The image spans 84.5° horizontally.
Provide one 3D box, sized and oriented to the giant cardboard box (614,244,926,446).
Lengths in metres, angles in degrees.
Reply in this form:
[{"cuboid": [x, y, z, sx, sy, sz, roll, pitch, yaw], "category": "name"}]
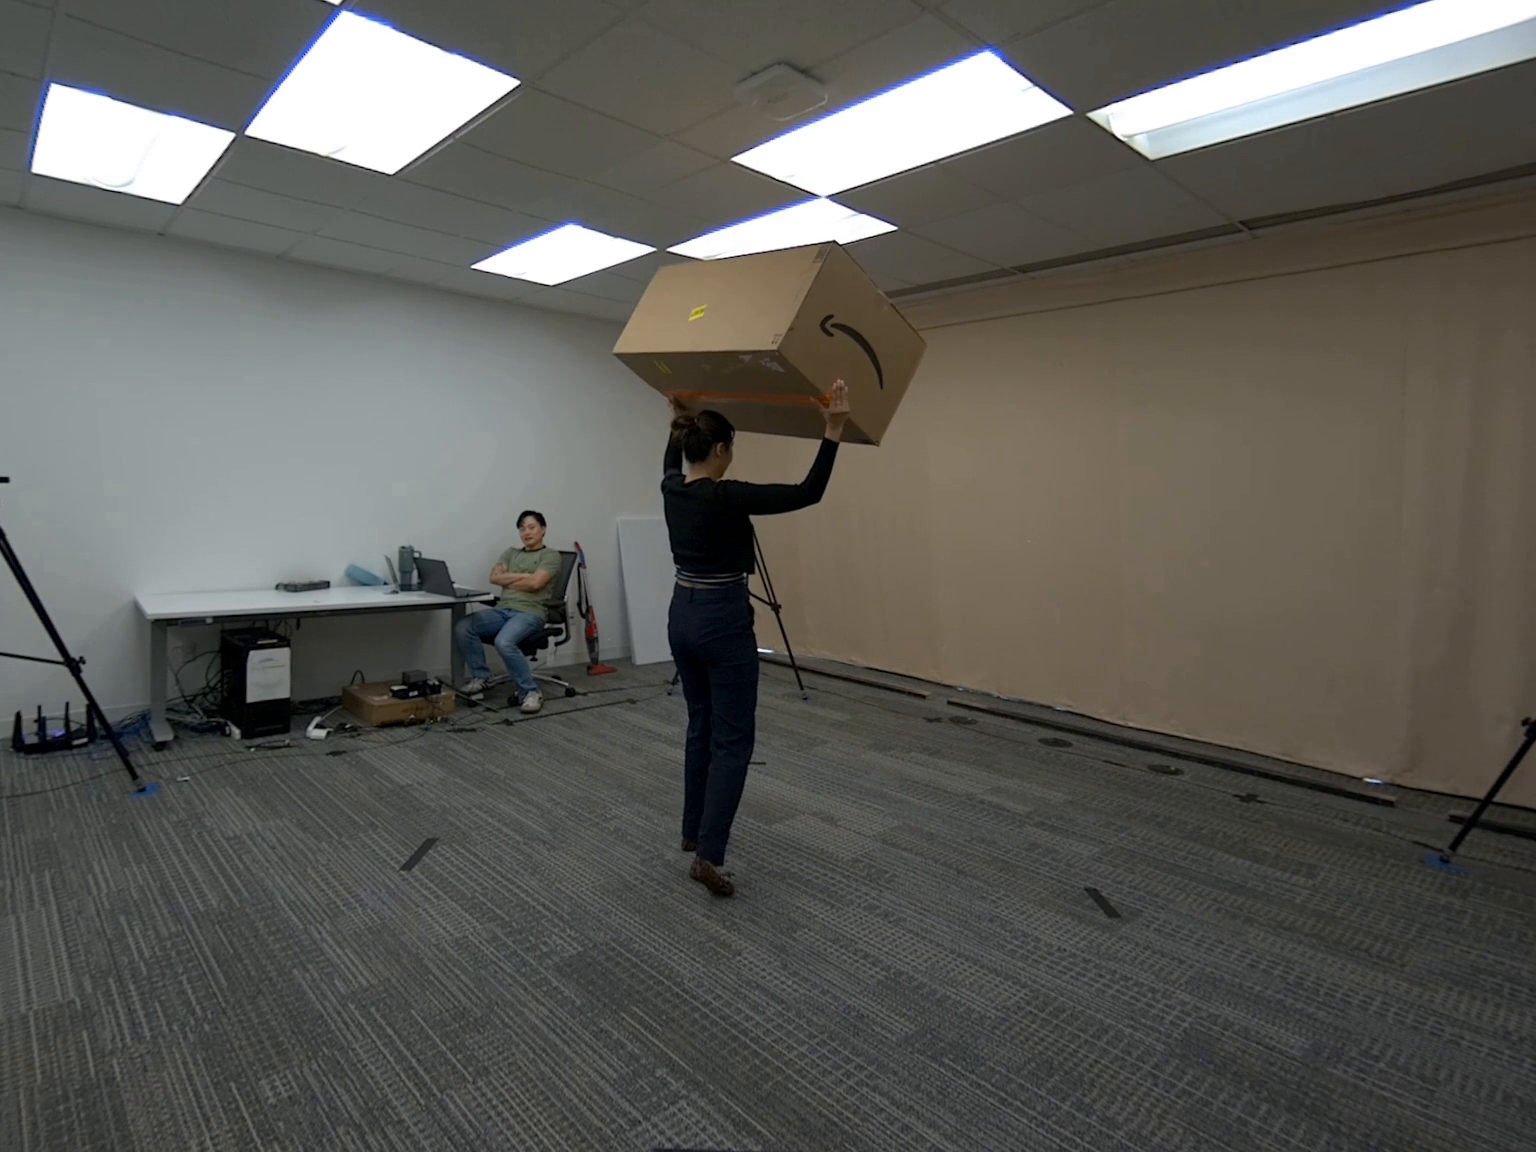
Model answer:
[{"cuboid": [-0.034, -0.844, 3.173, 0.559, 0.427, 1.055, 34, -11, -39], "category": "giant cardboard box"}]
